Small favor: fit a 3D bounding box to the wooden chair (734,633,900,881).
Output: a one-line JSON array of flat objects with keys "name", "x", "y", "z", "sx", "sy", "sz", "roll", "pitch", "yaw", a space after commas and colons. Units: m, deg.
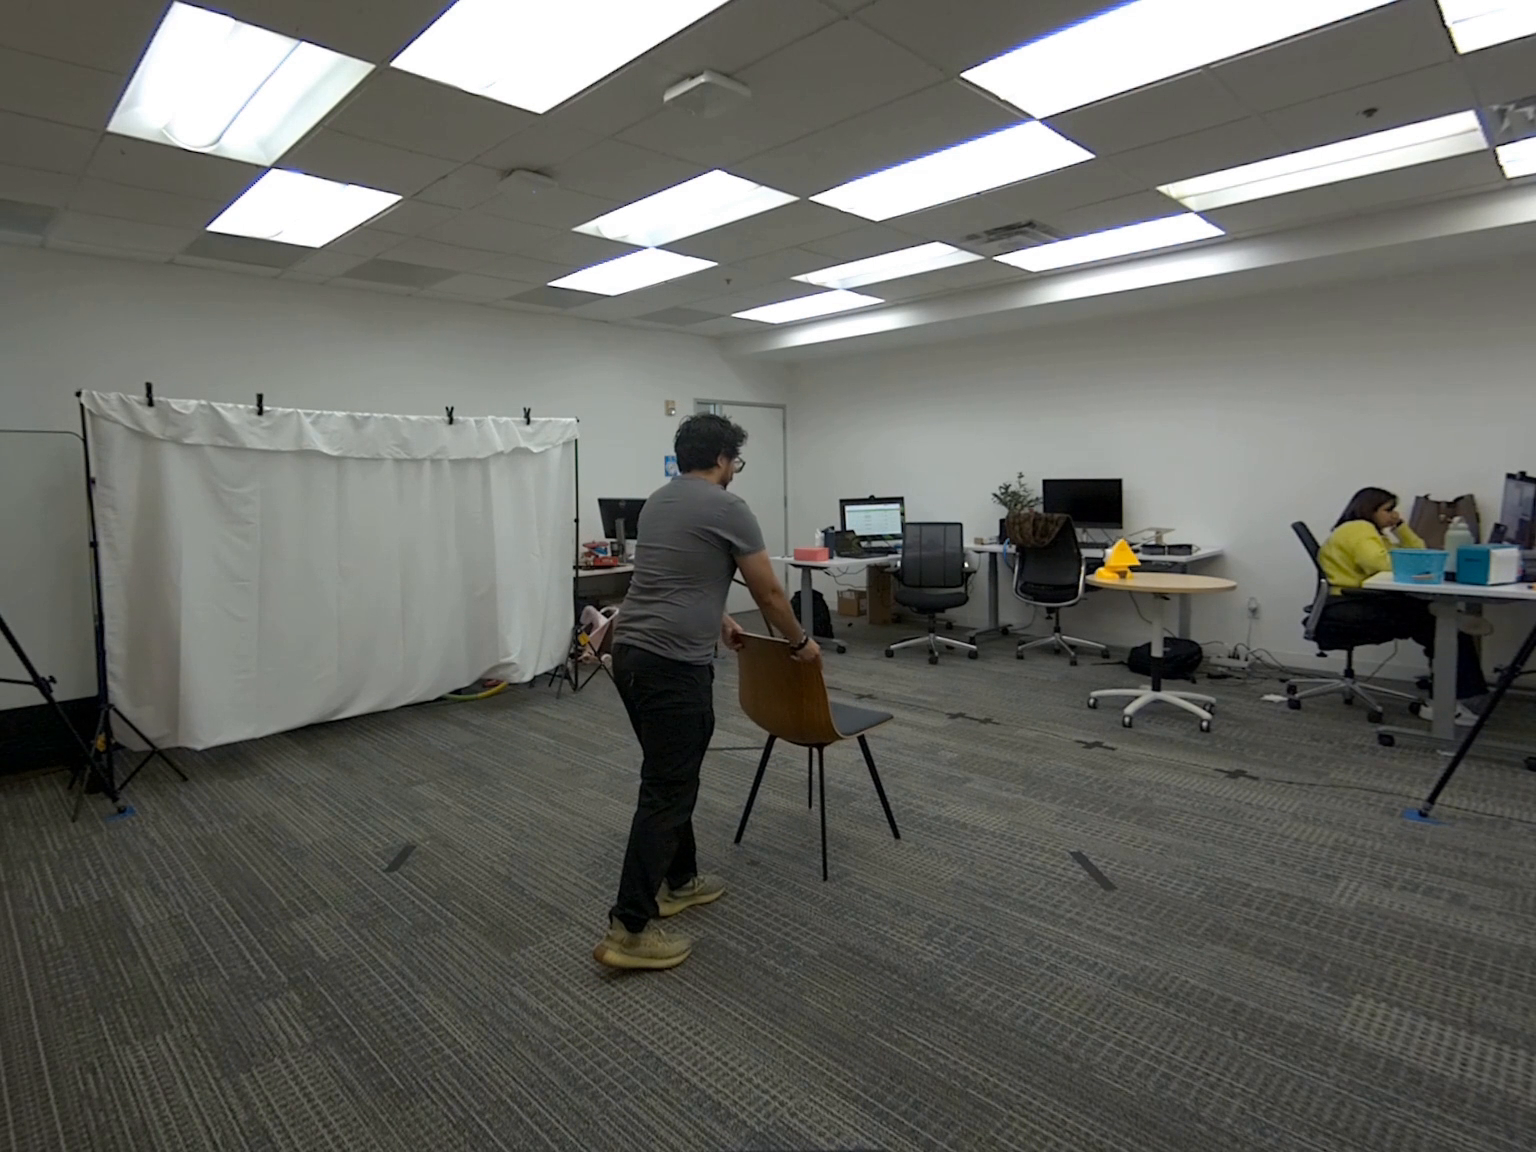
[{"name": "wooden chair", "x": 0.179, "y": 0.587, "z": 3.232, "sx": 0.493, "sy": 0.870, "sz": 0.512, "roll": 3, "pitch": 12, "yaw": 45}]
